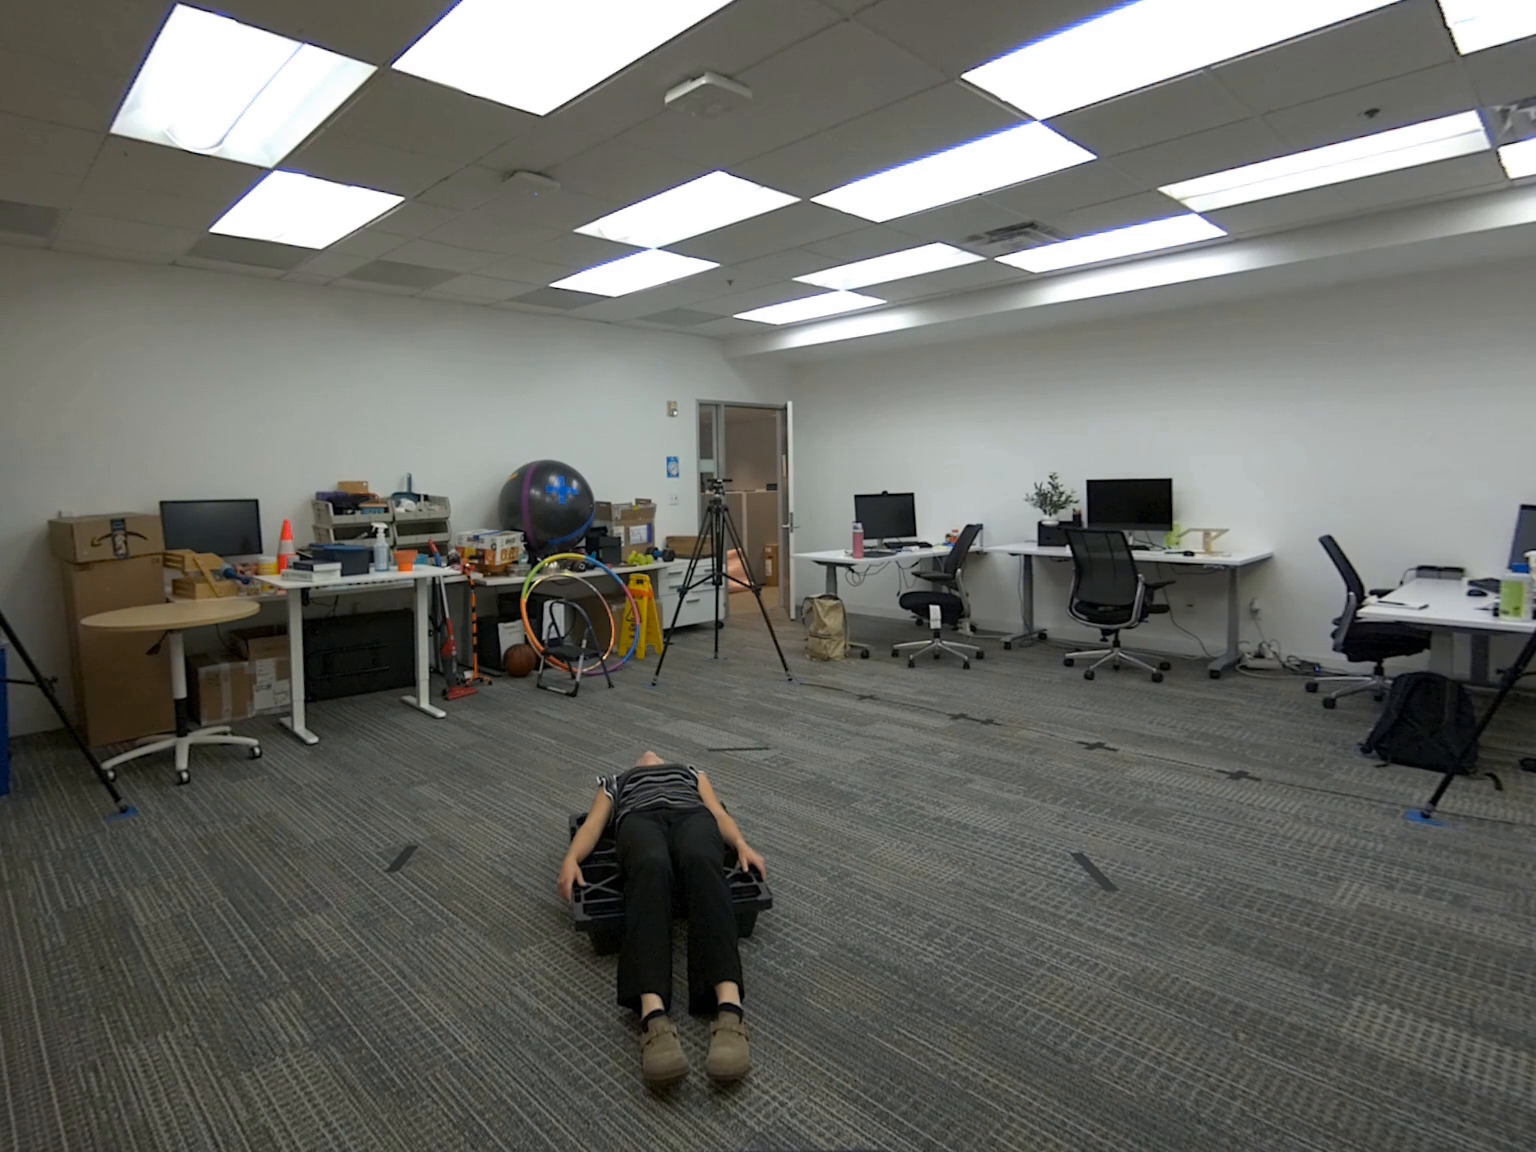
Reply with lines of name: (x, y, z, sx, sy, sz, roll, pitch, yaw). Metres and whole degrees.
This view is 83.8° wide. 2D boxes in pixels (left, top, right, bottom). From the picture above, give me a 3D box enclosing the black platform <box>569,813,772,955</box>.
black platform: (-0.372, 1.009, 2.906, 0.598, 0.142, 0.819, -1, 7, -13)
